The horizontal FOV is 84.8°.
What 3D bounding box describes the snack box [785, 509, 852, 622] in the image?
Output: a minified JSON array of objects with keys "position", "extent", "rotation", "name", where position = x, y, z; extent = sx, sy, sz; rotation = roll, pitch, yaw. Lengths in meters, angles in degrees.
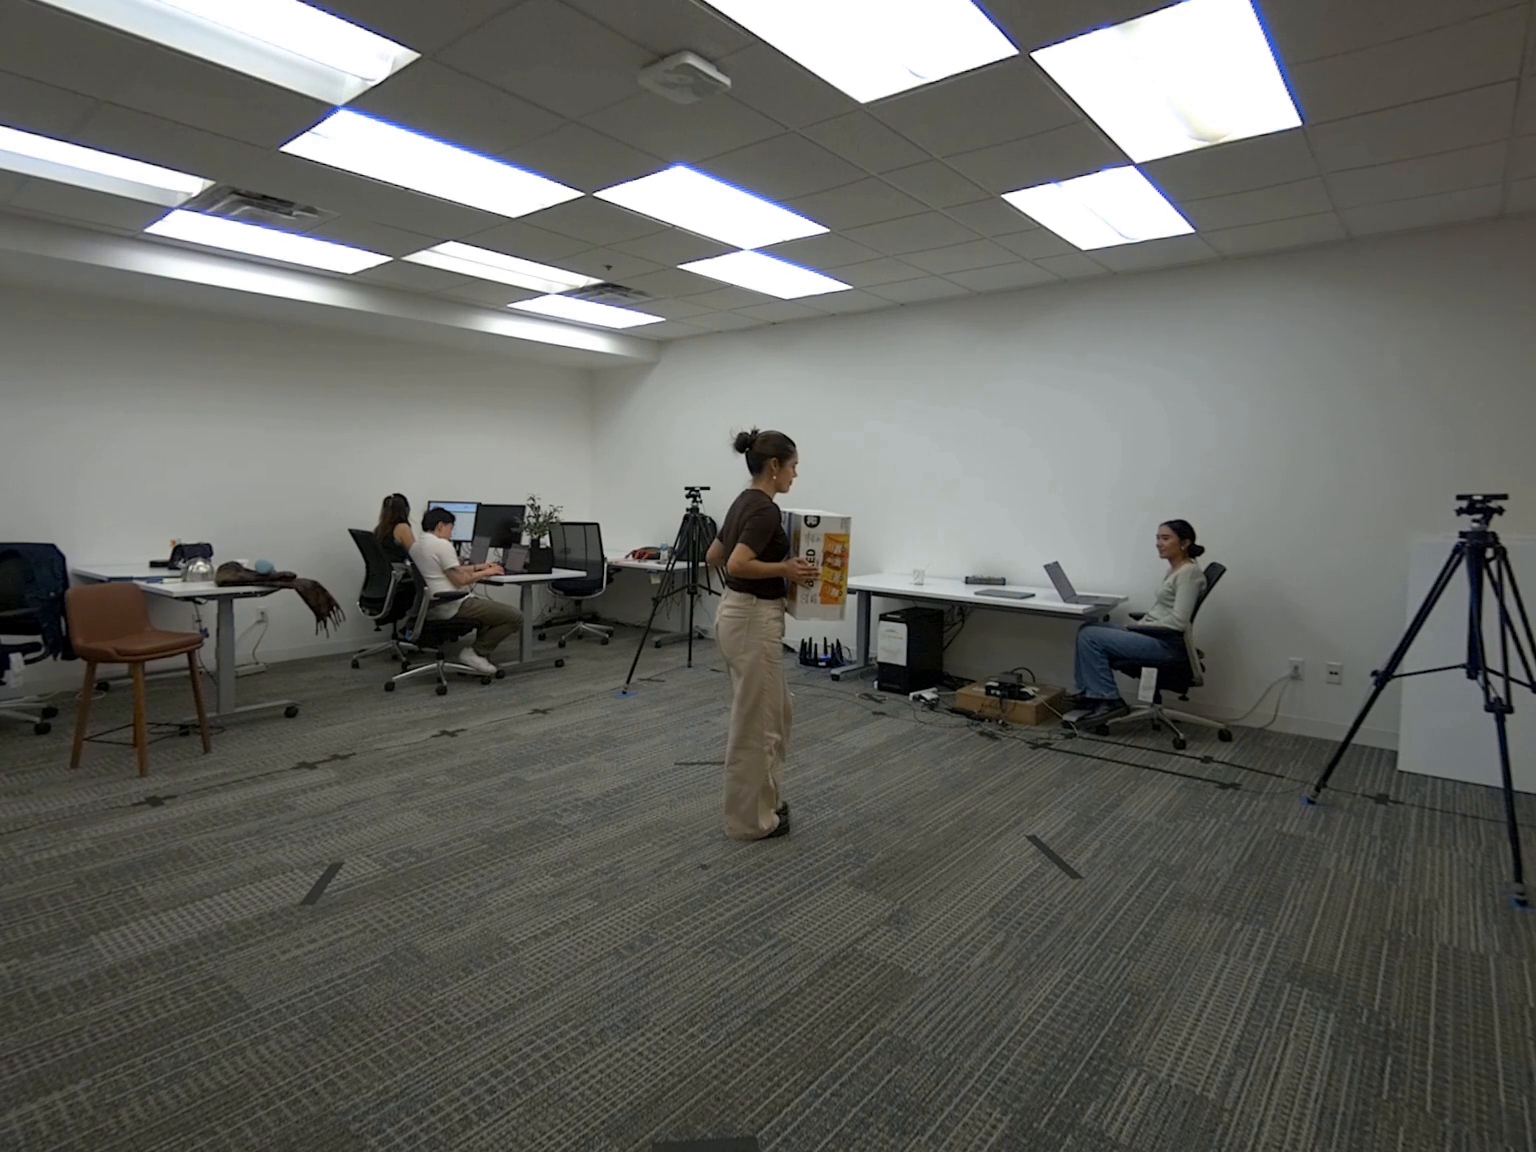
[{"position":[0.170,-0.056,3.422],"extent":[0.203,0.403,0.347],"rotation":[2,6,-13],"name":"snack box"}]
